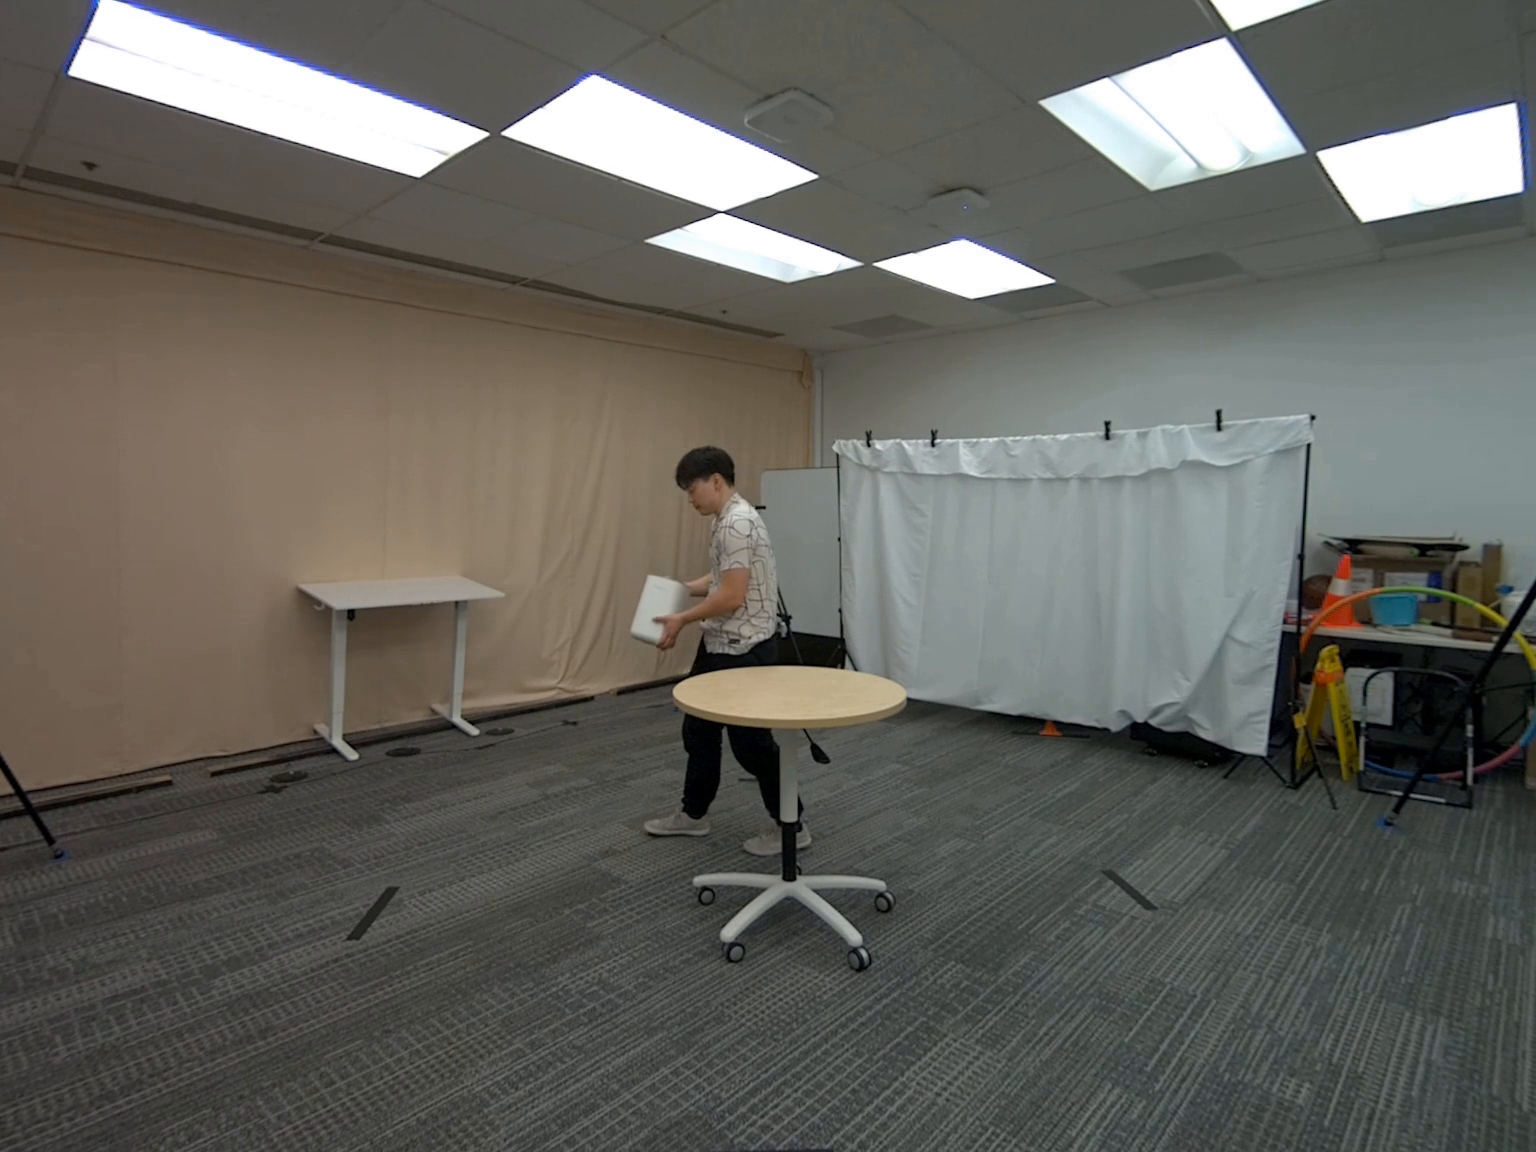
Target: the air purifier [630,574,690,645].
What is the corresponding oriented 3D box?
[{"bbox_3d":[-0.434,0.146,3.438,0.175,0.266,0.167,13,-10,17],"label":"air purifier"}]
